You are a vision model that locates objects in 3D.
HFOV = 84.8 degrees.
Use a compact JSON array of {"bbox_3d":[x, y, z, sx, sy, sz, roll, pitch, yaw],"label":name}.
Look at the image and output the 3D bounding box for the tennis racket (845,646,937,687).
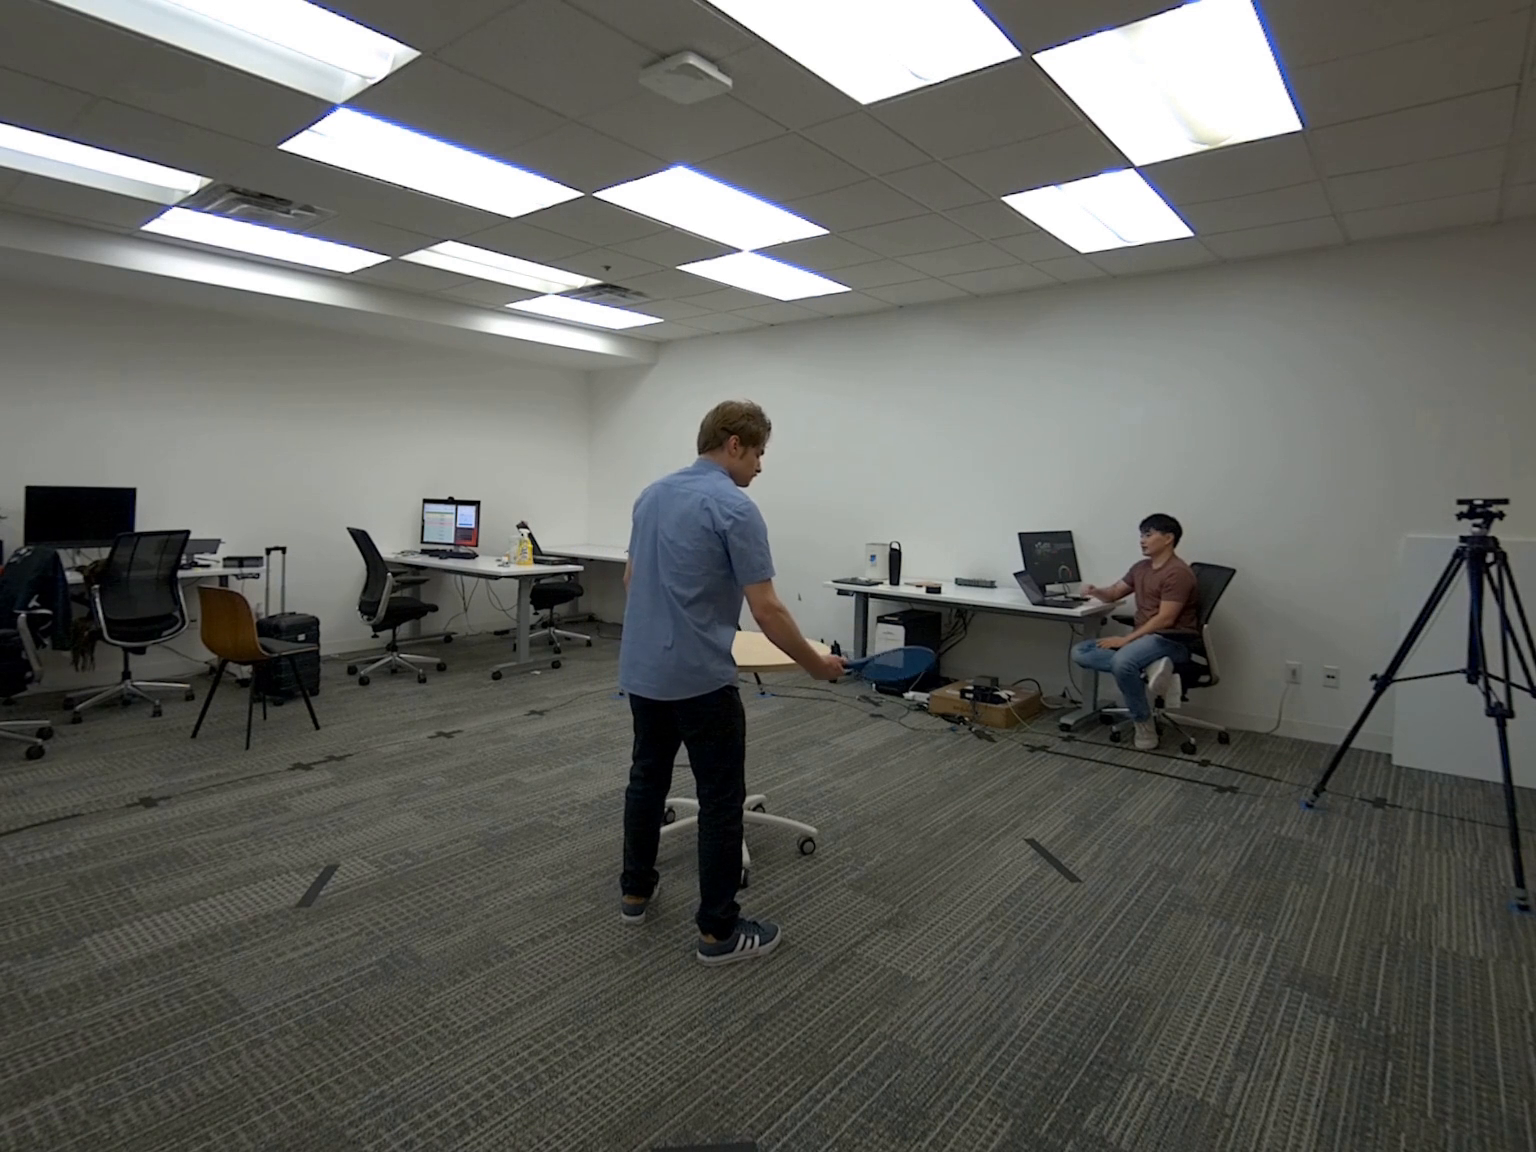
[{"bbox_3d":[0.317,0.304,2.716,0.421,0.033,0.212,4,-40,-26],"label":"tennis racket"}]
